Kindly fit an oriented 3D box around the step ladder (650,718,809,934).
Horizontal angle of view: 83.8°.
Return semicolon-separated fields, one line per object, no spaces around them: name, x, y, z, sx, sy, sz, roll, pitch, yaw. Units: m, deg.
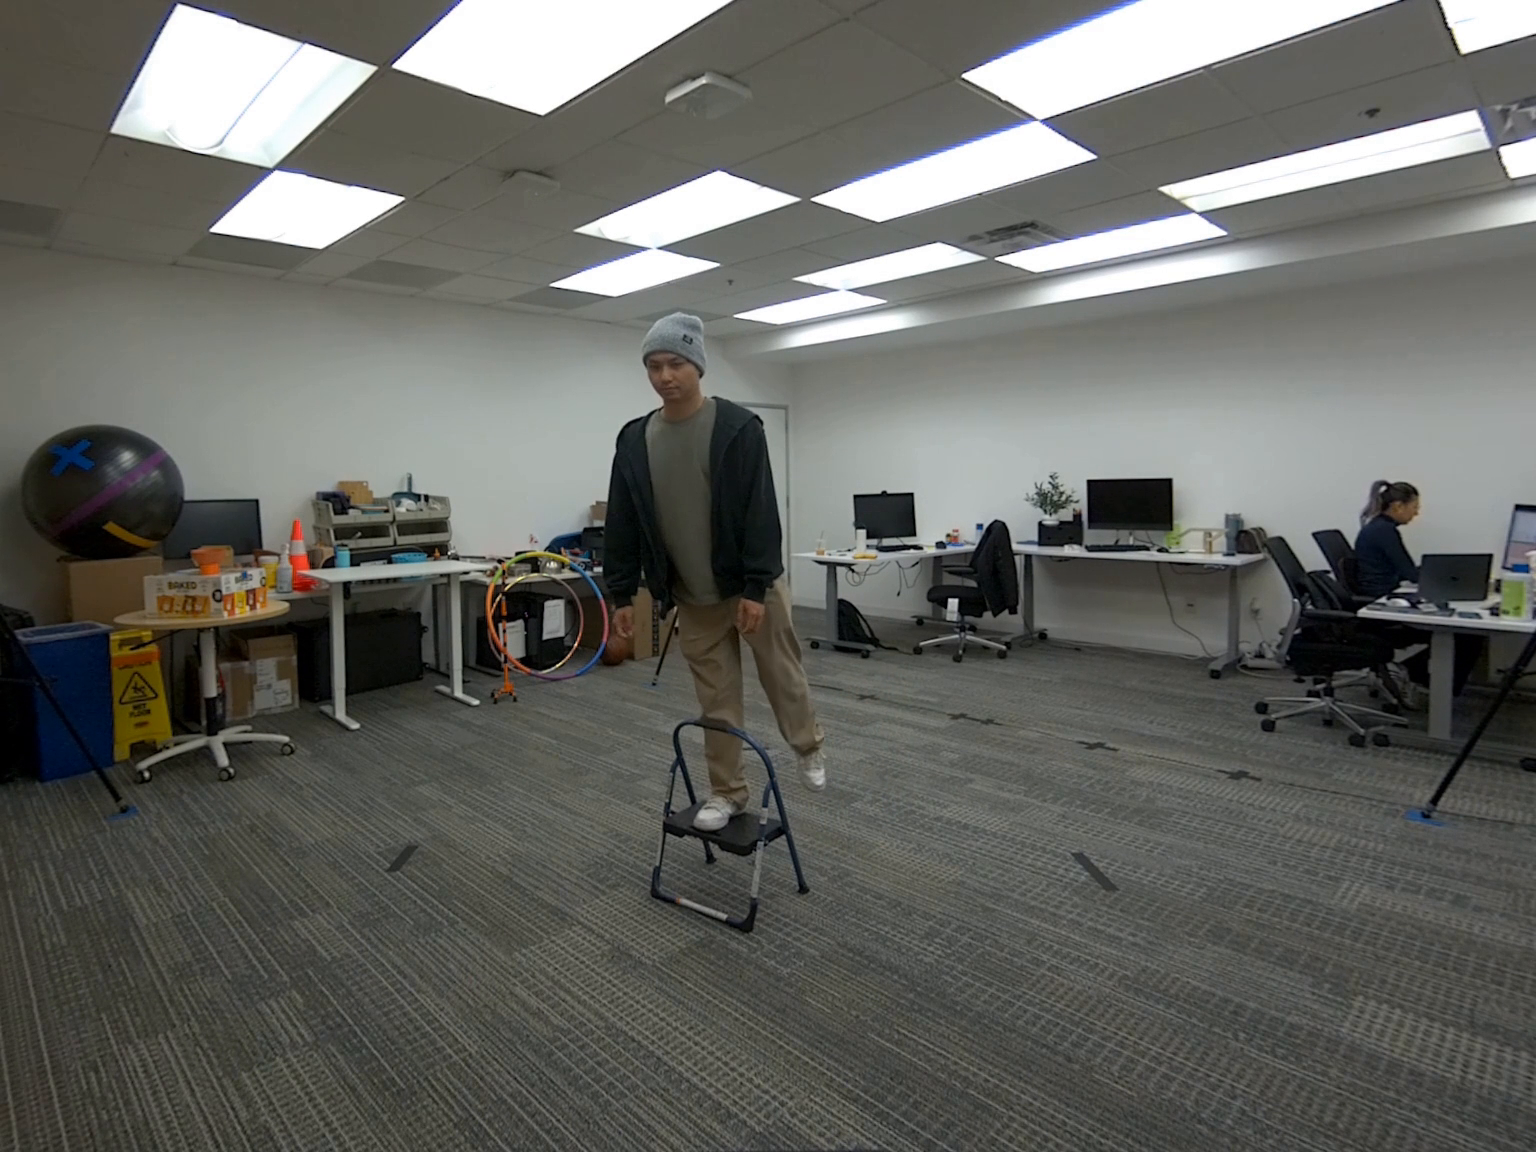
step ladder;-0.134;0.773;2.864;0.443;0.604;0.341;2;6;35
